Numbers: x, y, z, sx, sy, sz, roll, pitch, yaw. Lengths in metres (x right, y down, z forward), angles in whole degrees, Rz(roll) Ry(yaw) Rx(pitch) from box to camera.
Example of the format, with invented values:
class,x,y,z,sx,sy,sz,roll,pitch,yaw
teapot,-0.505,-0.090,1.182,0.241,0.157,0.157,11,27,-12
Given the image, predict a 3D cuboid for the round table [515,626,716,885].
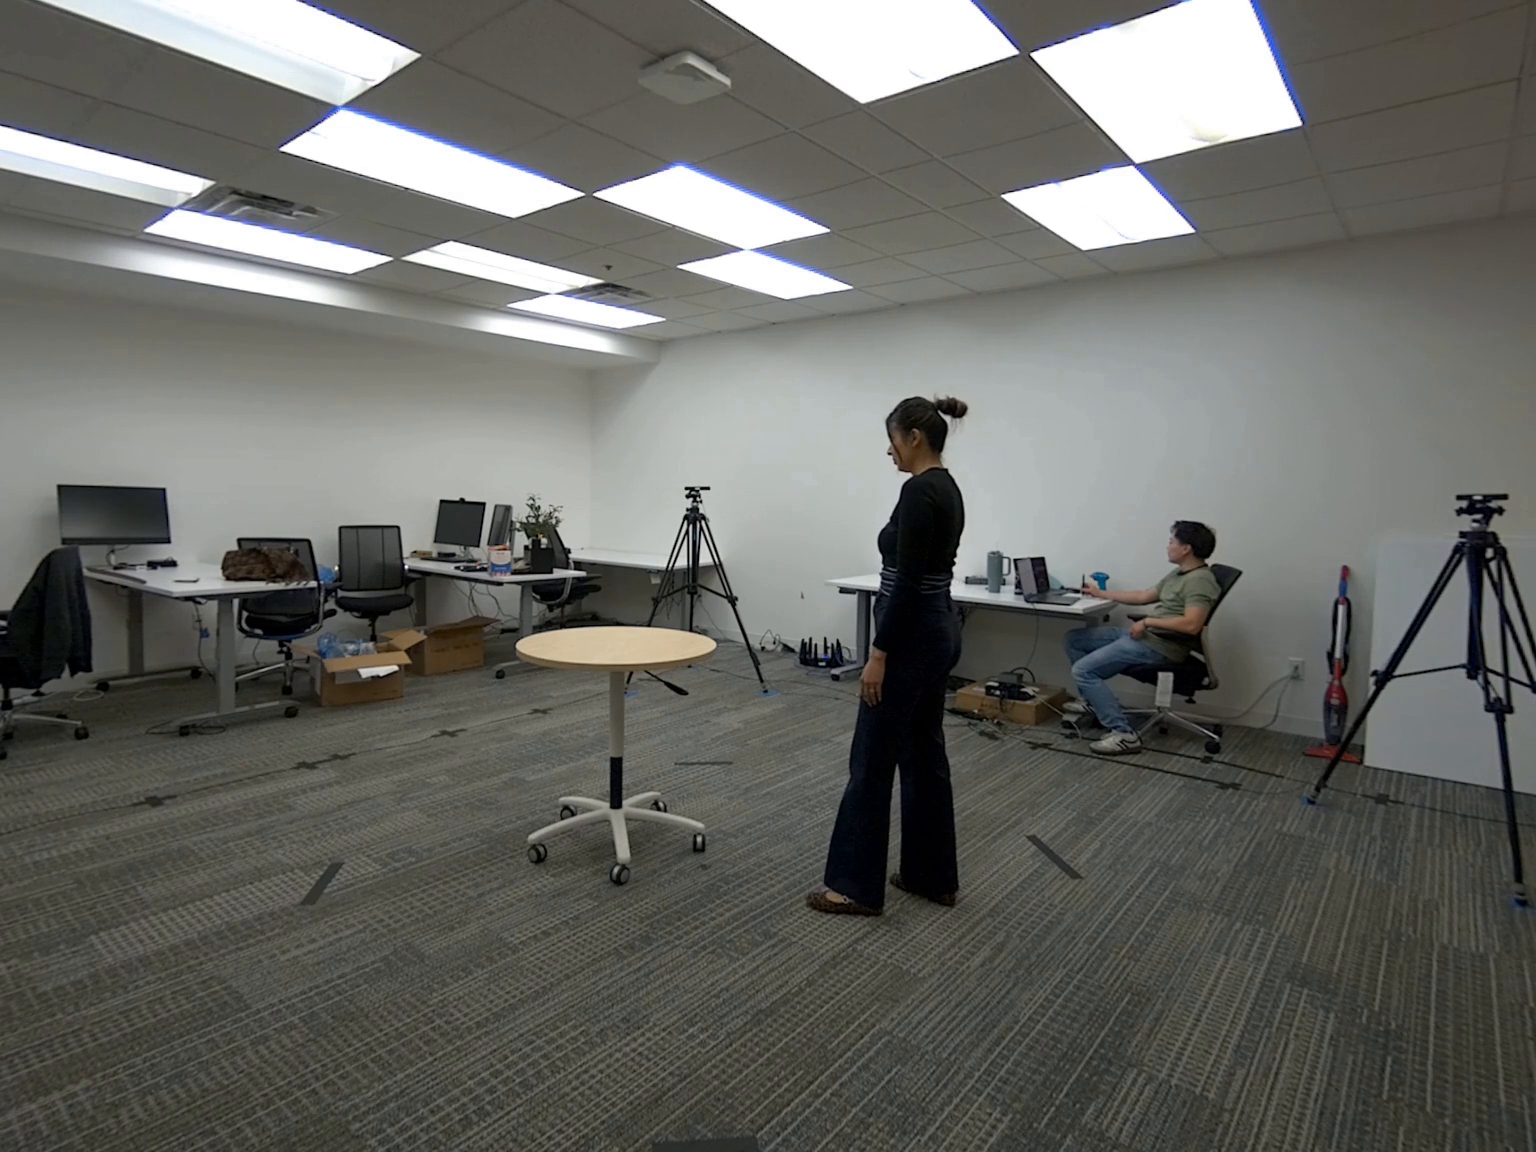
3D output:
class,x,y,z,sx,sy,sz,roll,pitch,yaw
round table,-0.604,0.652,3.301,0.763,0.792,0.767,1,4,-2
